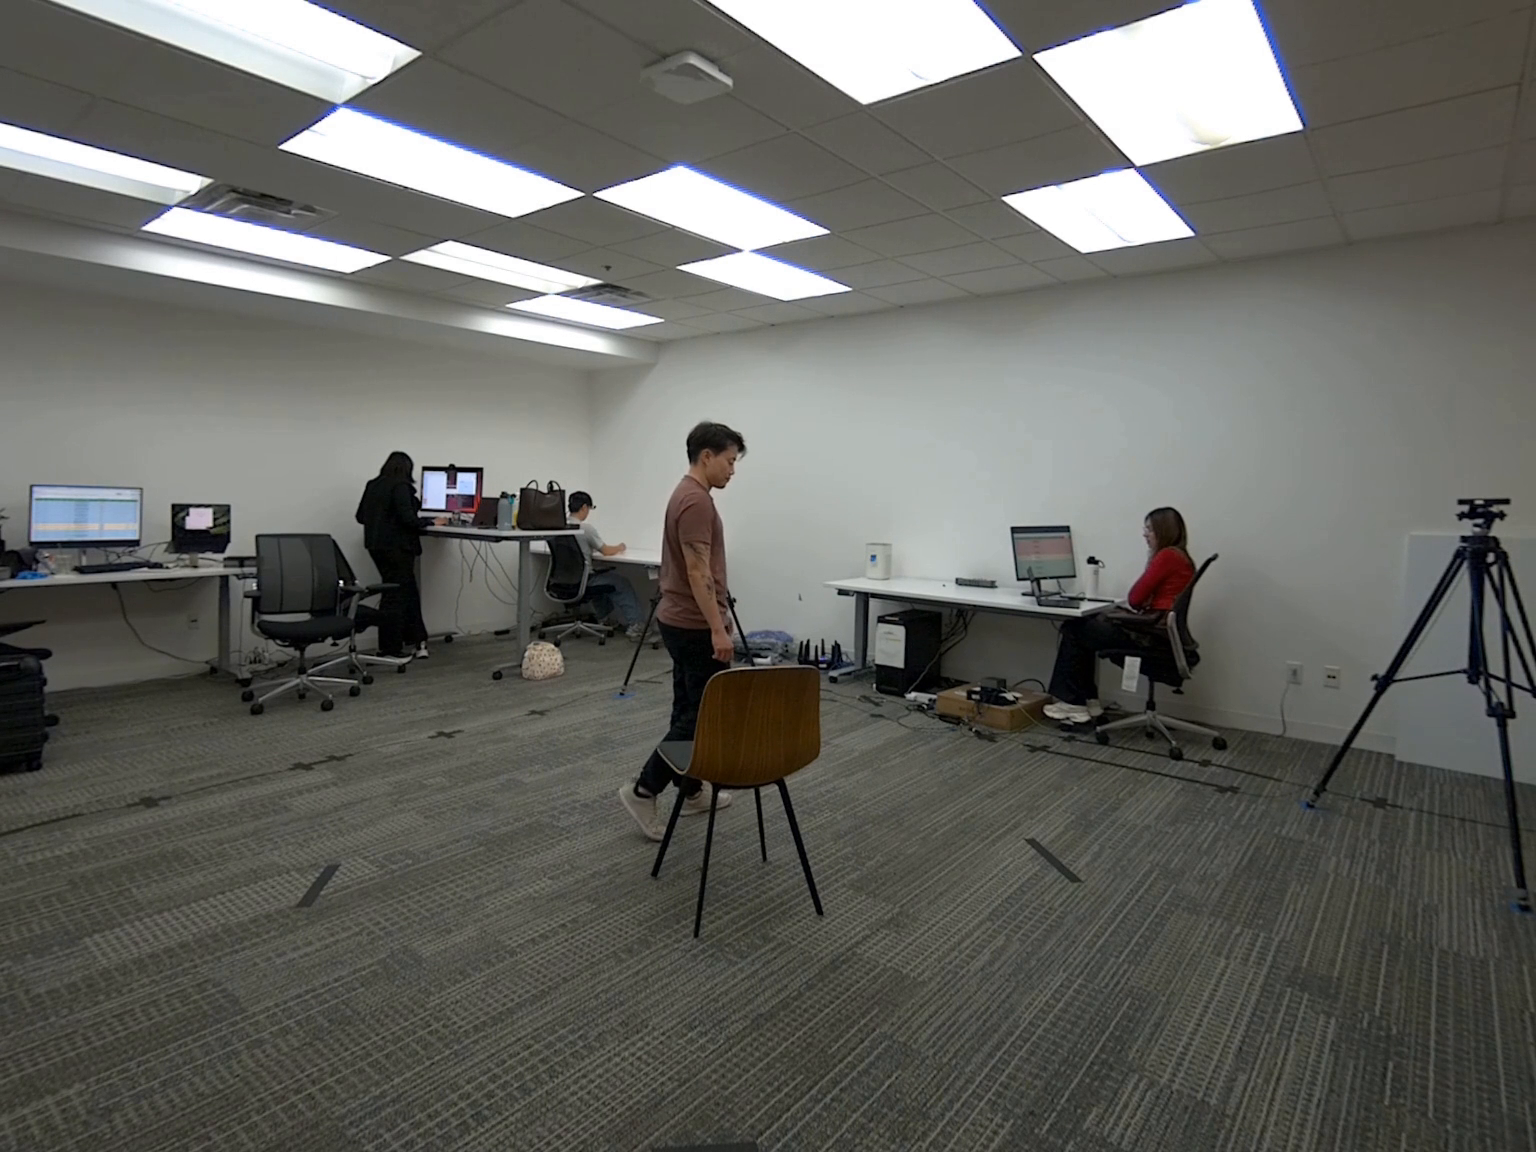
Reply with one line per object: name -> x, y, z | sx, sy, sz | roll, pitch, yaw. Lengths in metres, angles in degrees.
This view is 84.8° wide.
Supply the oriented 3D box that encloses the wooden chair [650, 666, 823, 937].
wooden chair -> -0.116, 0.666, 2.893 | 0.467, 0.872, 0.538 | 0, 7, -23
